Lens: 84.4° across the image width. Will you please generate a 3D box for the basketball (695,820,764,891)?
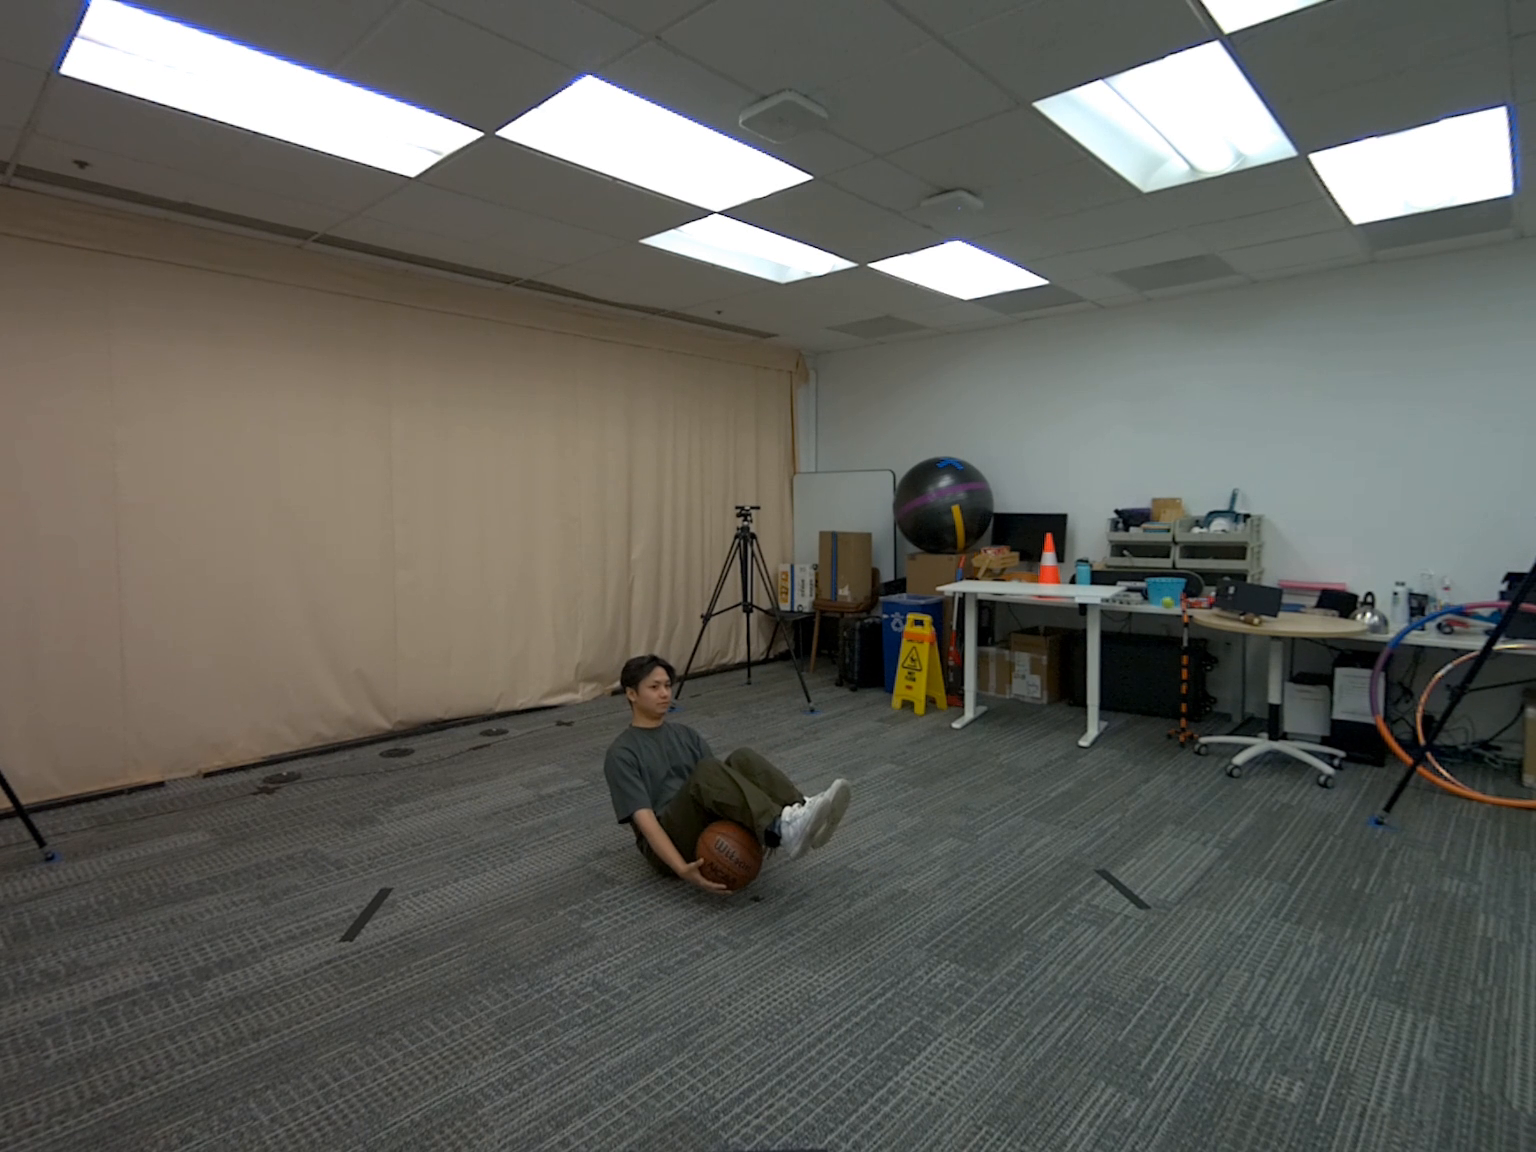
[{"bbox_3d":[-0.135,0.967,2.964,0.236,0.235,0.237,0,4,-2],"label":"basketball"}]
